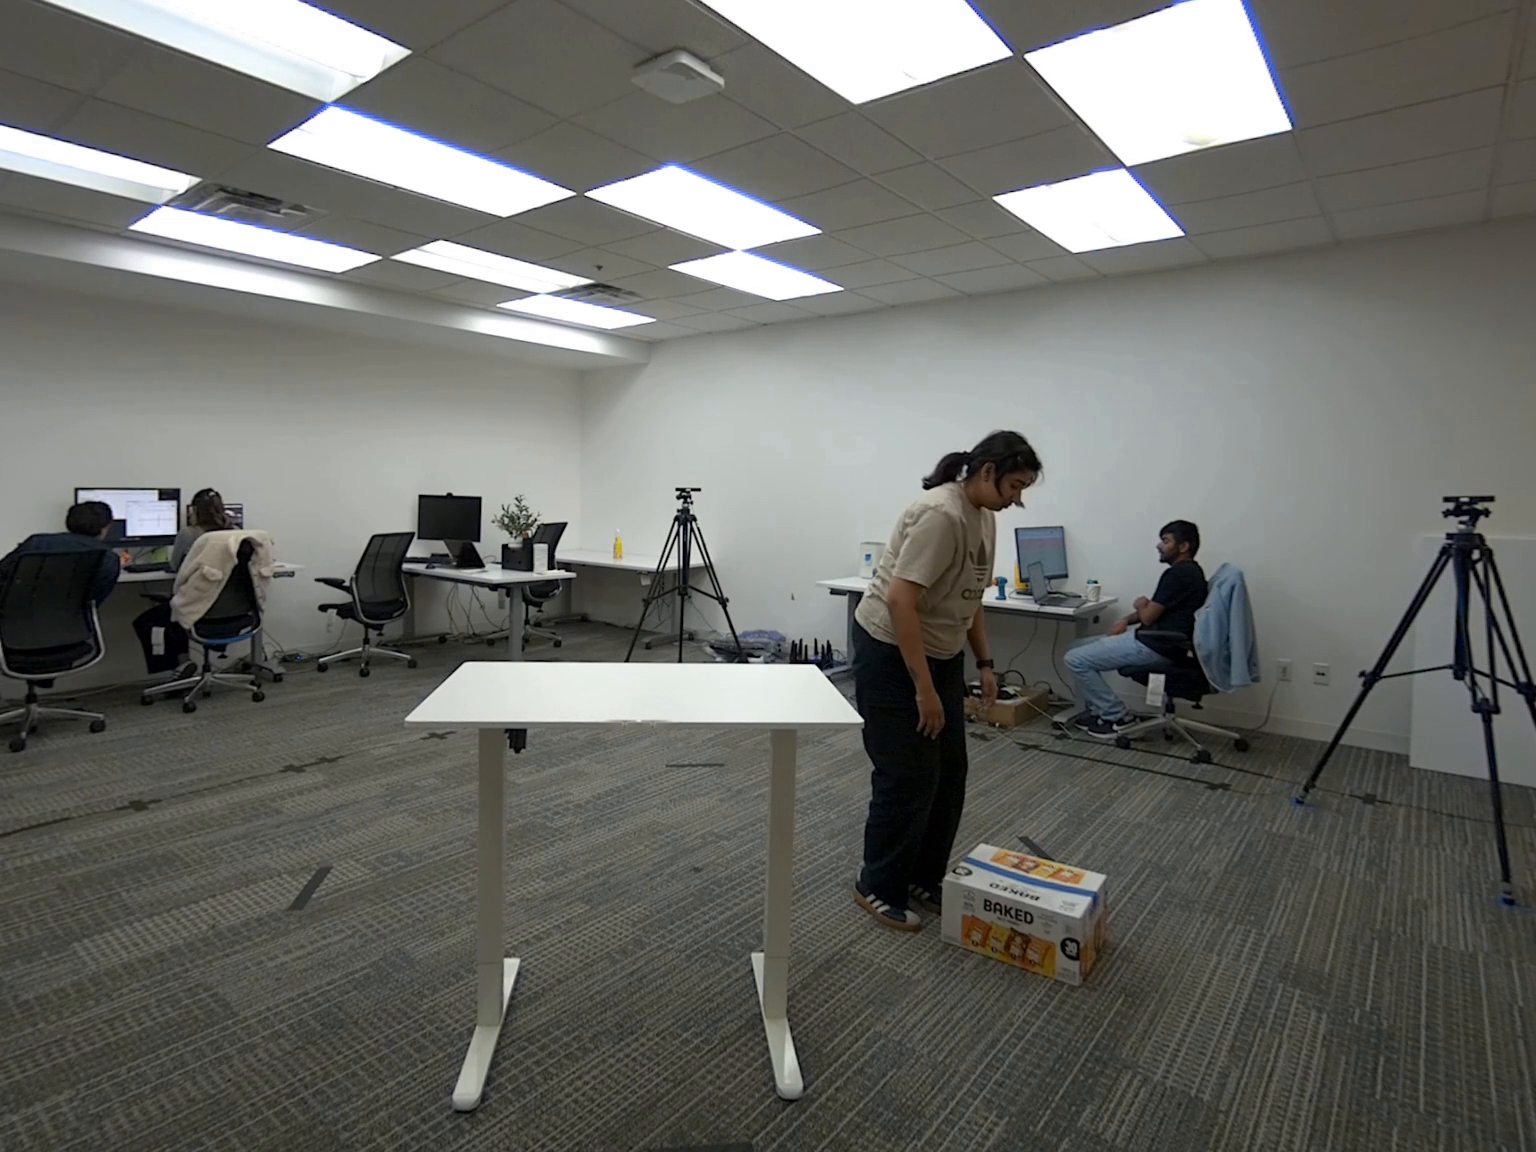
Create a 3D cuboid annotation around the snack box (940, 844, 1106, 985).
[{"bbox_3d":[0.797,1.035,2.649,0.418,0.205,0.331,4,5,34],"label":"snack box"}]
